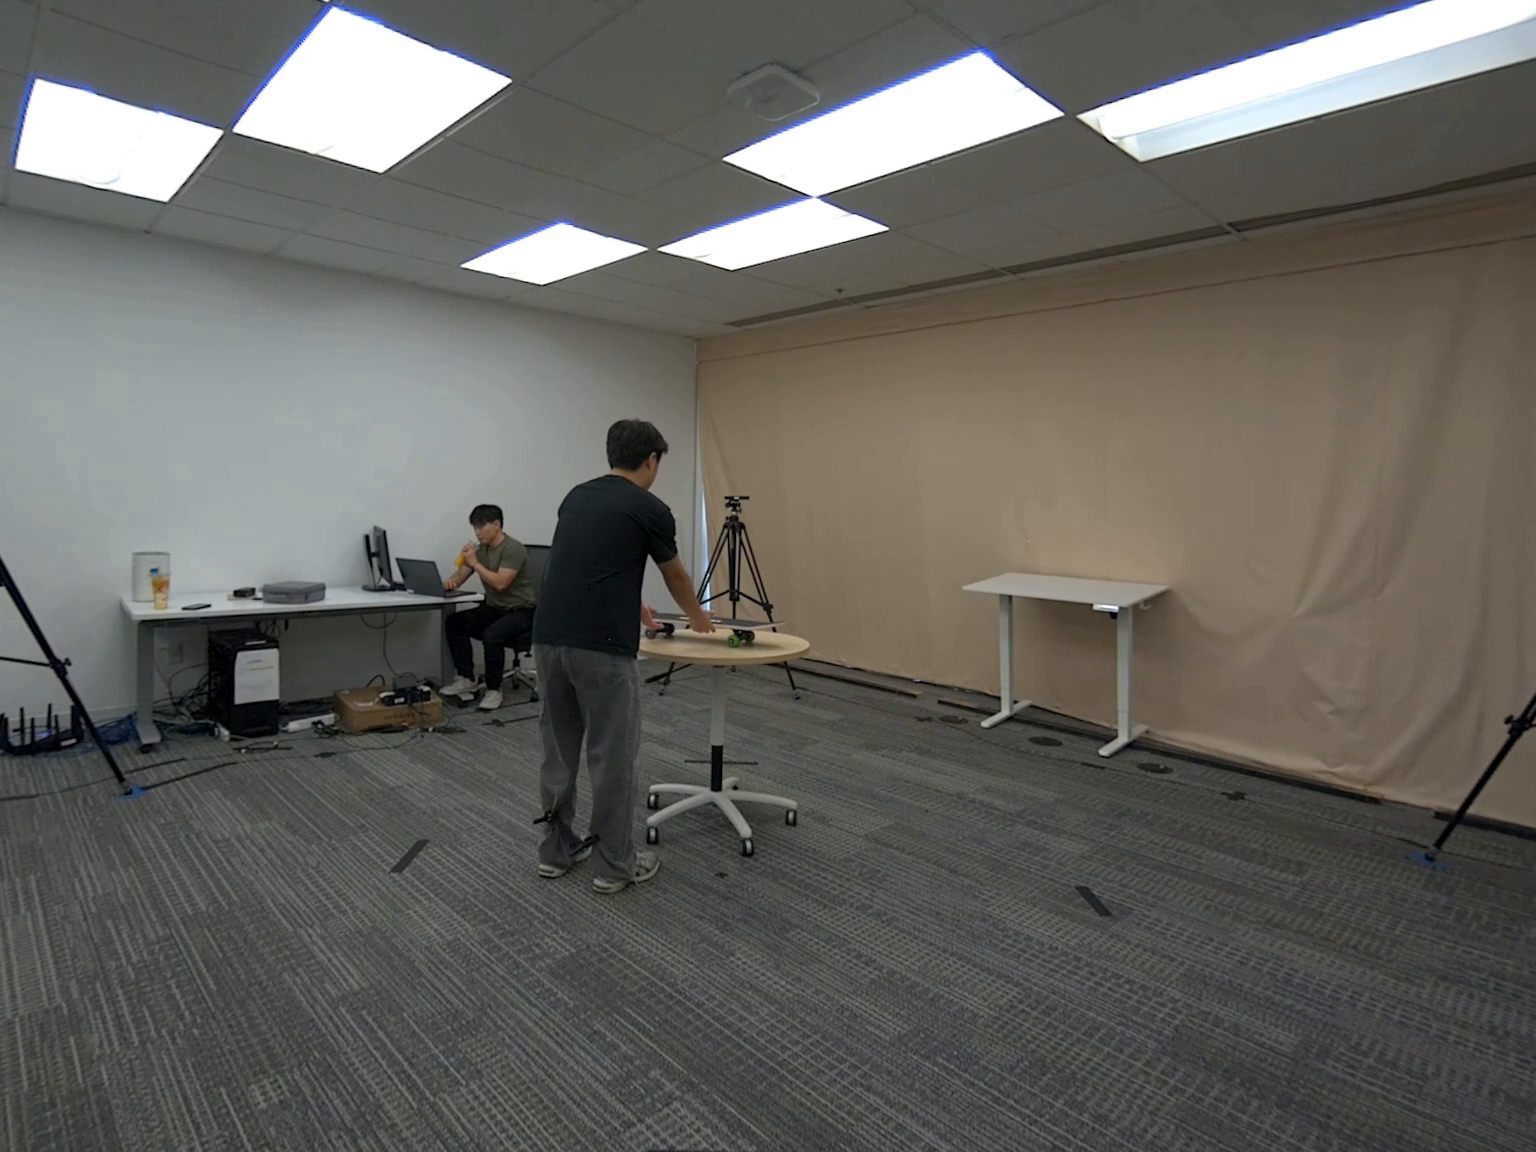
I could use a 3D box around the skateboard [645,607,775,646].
[{"bbox_3d":[-0.308,0.227,3.607,0.801,0.110,0.190,4,2,27],"label":"skateboard"}]
